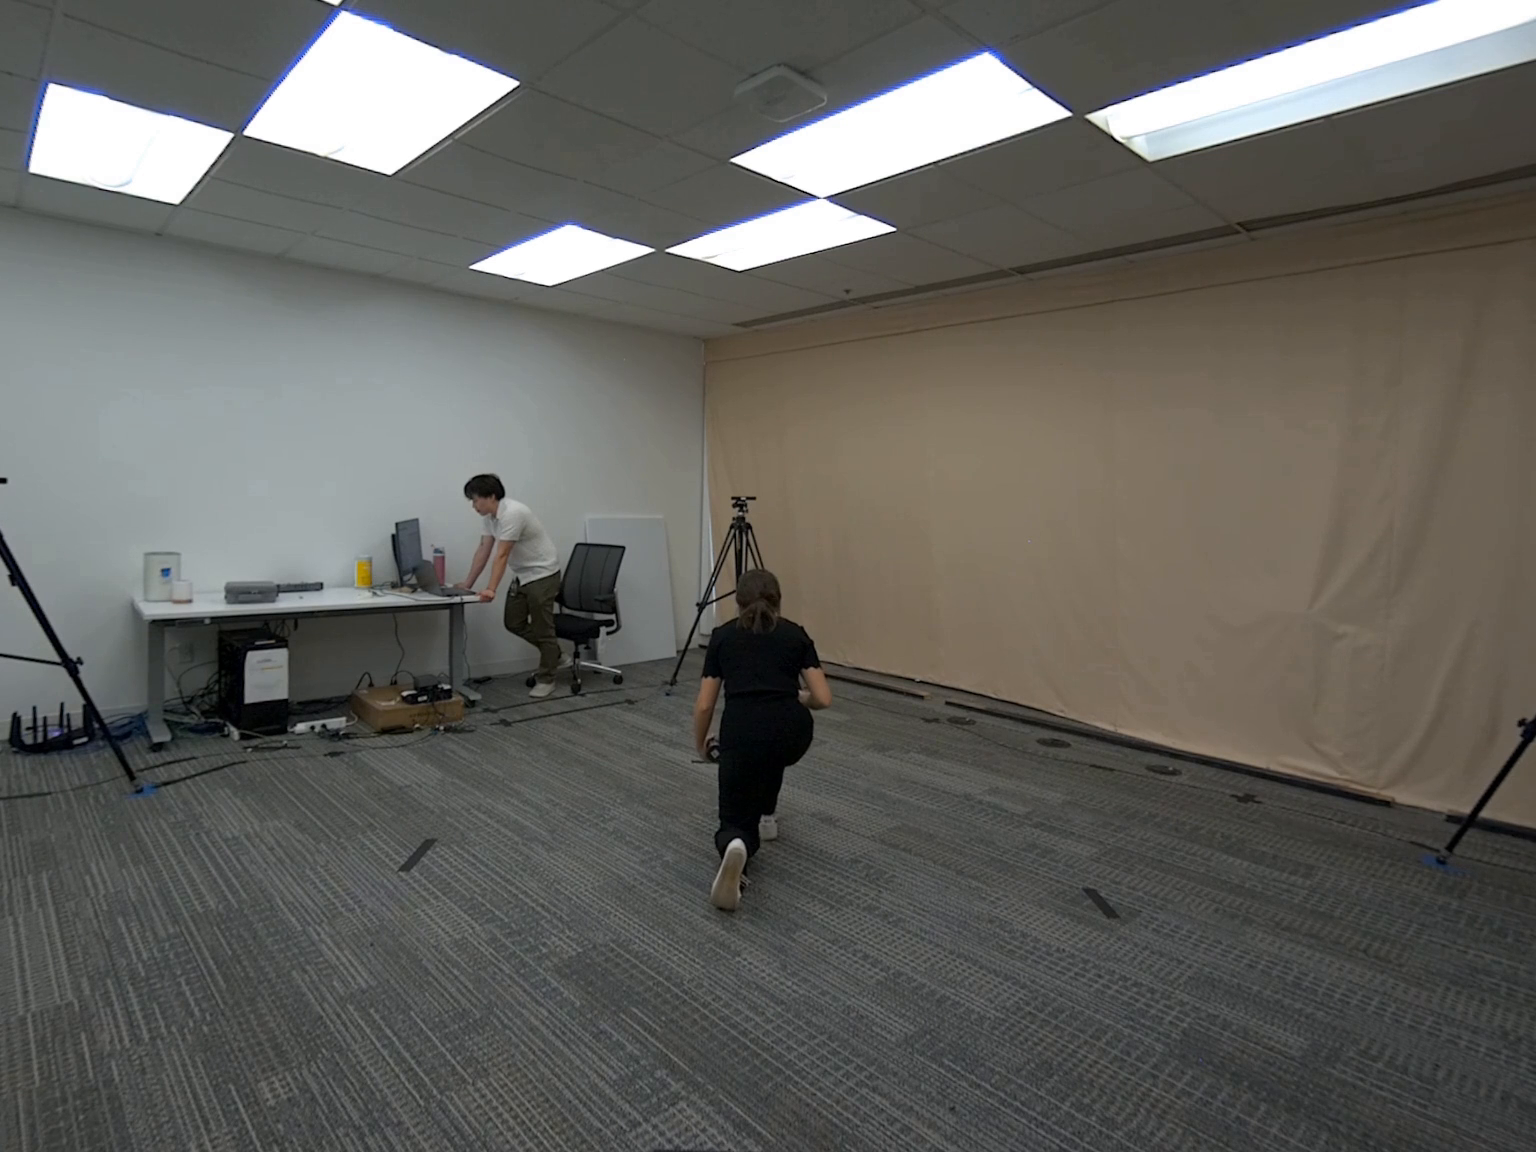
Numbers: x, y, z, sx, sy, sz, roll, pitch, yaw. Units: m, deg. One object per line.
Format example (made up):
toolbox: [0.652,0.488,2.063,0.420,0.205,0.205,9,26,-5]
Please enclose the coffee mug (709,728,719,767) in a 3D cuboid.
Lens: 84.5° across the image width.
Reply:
coffee mug: [-0.201,0.728,3.524,0.087,0.121,0.205,-33,7,-10]
